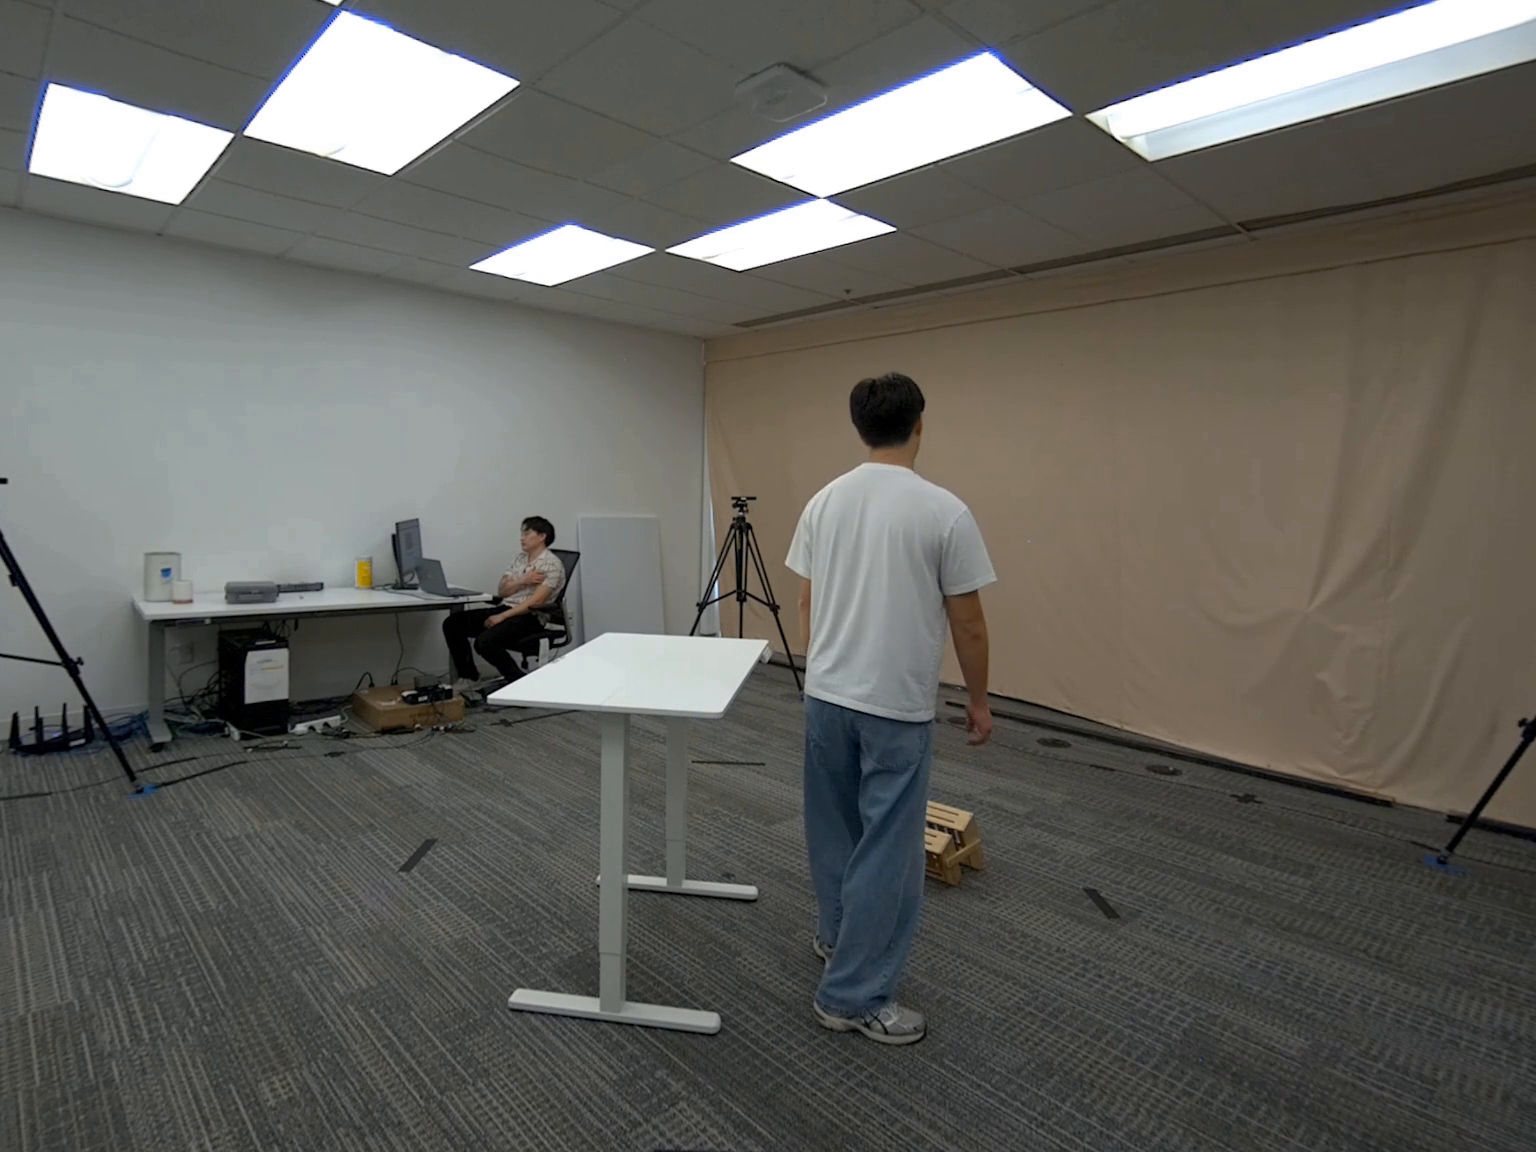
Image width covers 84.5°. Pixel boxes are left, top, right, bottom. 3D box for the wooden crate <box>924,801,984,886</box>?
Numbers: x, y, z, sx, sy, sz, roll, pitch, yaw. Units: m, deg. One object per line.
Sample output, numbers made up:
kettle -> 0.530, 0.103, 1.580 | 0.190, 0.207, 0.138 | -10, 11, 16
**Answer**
wooden crate -> 0.595, 1.028, 3.193 | 0.332, 0.296, 0.272 | 5, 32, 40
